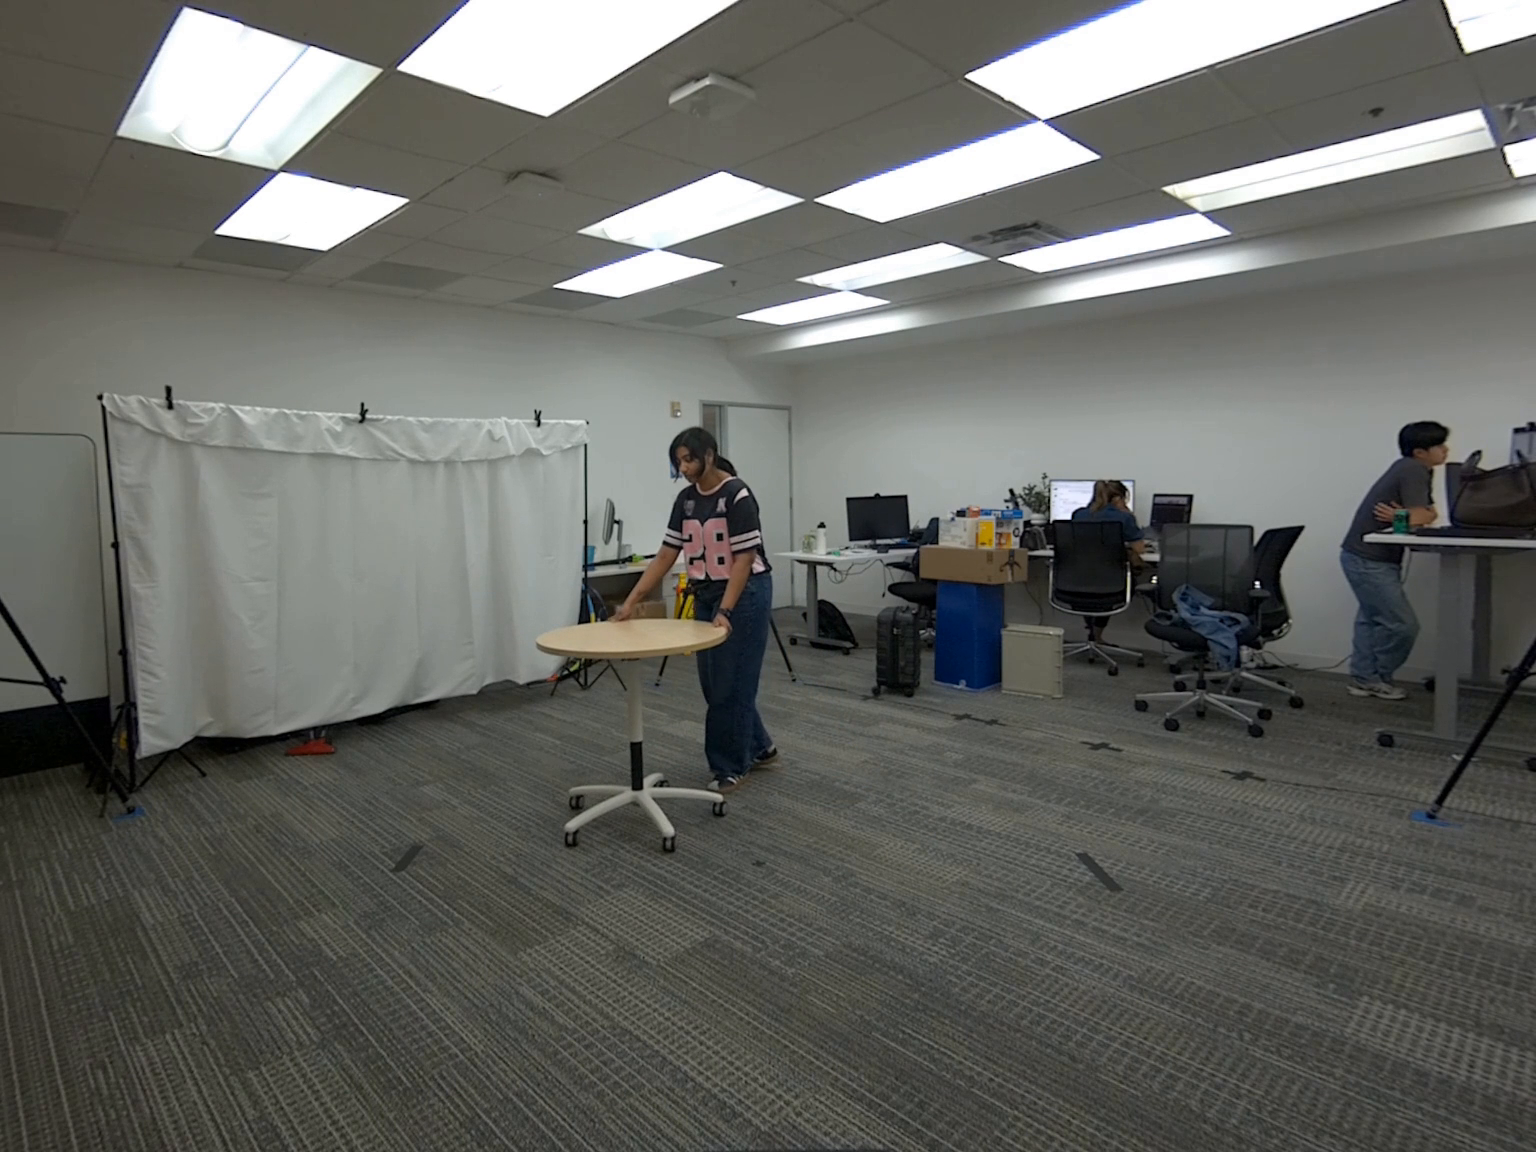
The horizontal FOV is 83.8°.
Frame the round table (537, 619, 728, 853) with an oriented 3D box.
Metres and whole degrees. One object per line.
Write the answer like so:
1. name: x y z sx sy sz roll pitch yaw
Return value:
1. round table: -0.525 0.619 3.488 0.784 0.784 0.789 -2 4 -2
